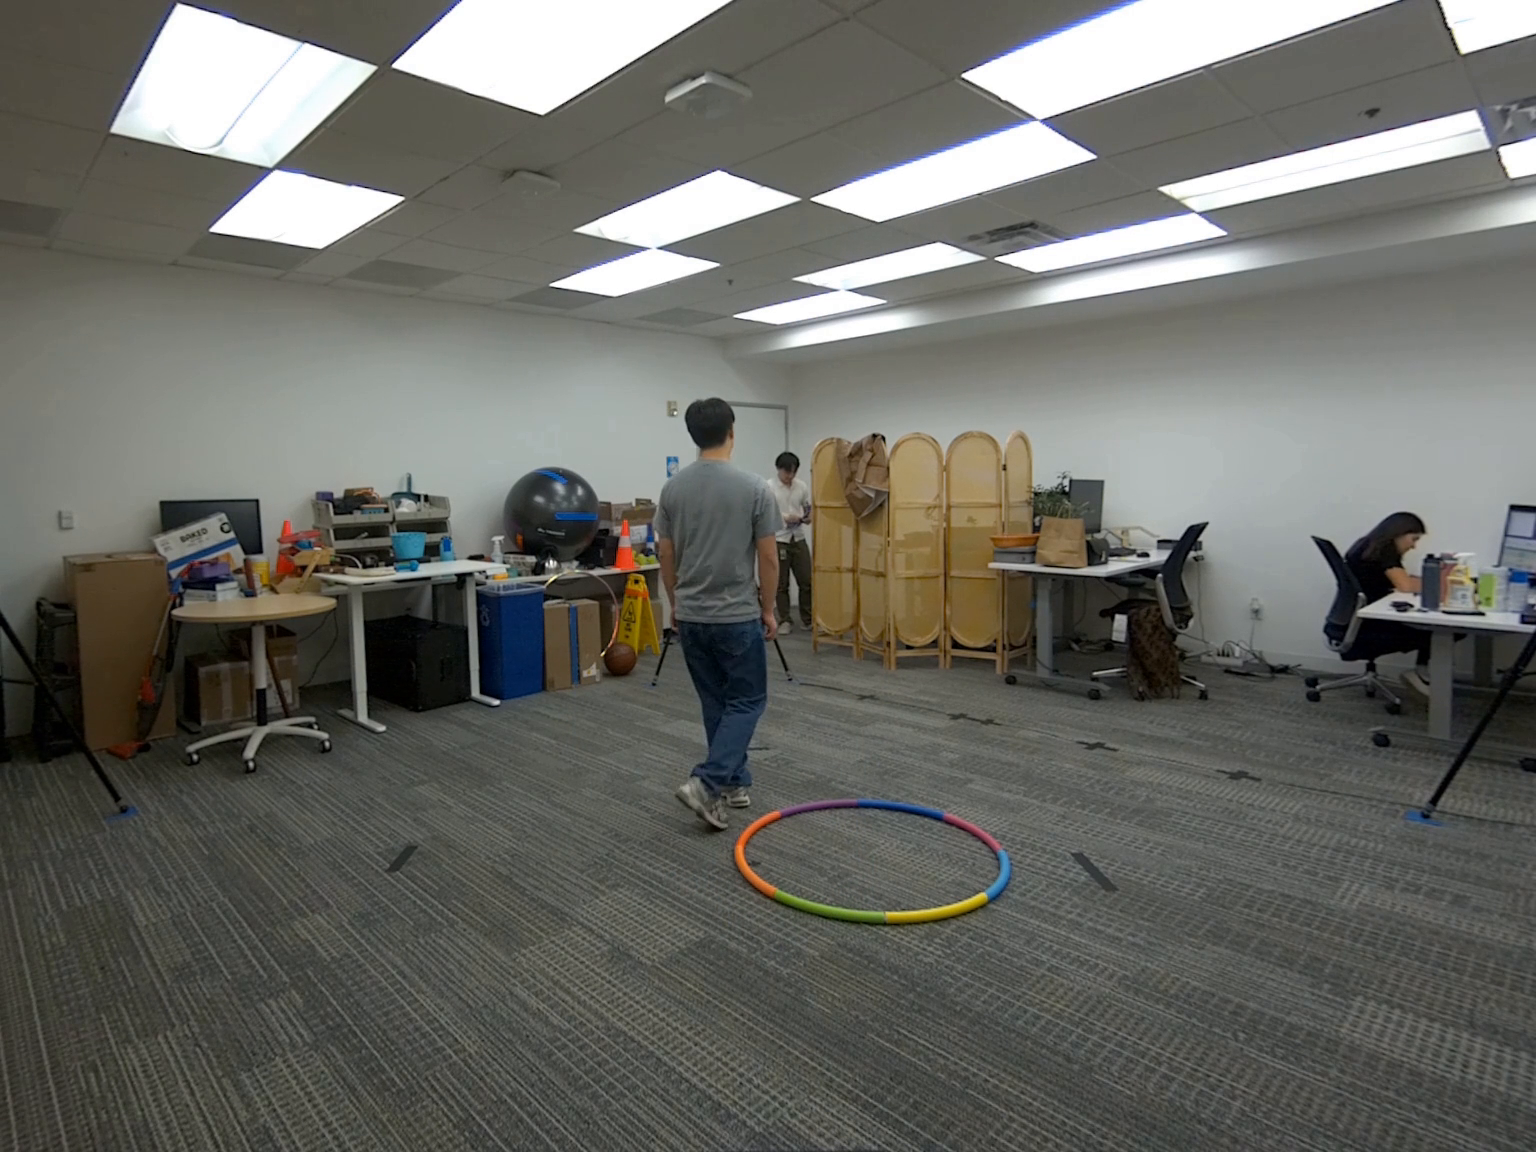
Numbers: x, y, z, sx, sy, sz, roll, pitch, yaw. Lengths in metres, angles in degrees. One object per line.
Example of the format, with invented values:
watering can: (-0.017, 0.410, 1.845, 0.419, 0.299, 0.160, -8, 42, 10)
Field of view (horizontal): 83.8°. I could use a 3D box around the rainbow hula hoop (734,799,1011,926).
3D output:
rainbow hula hoop: (0.367, 1.003, 3.145, 0.978, 0.035, 0.984, -2, 6, -2)
